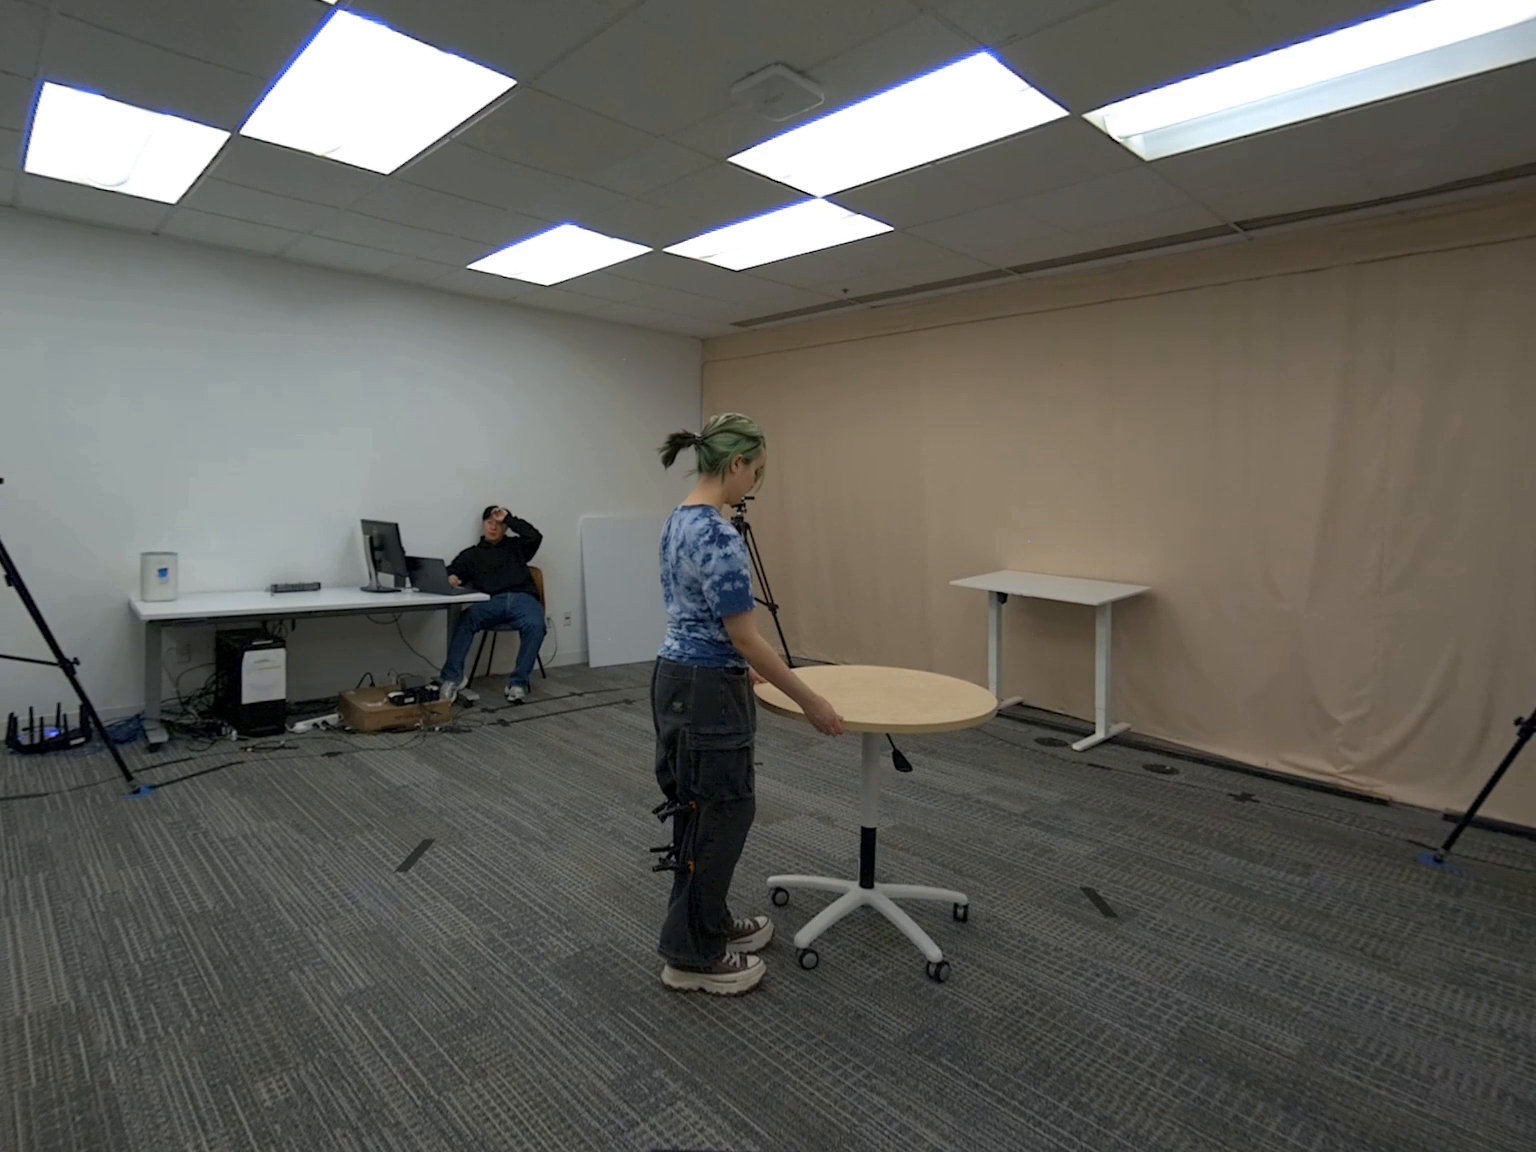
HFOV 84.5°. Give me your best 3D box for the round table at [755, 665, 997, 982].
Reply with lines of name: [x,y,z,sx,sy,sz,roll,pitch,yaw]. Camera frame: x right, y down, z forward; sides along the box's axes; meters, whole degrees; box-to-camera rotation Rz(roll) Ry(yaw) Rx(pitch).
round table: [0.320,0.761,2.728,0.763,0.791,0.767,1,5,-1]
